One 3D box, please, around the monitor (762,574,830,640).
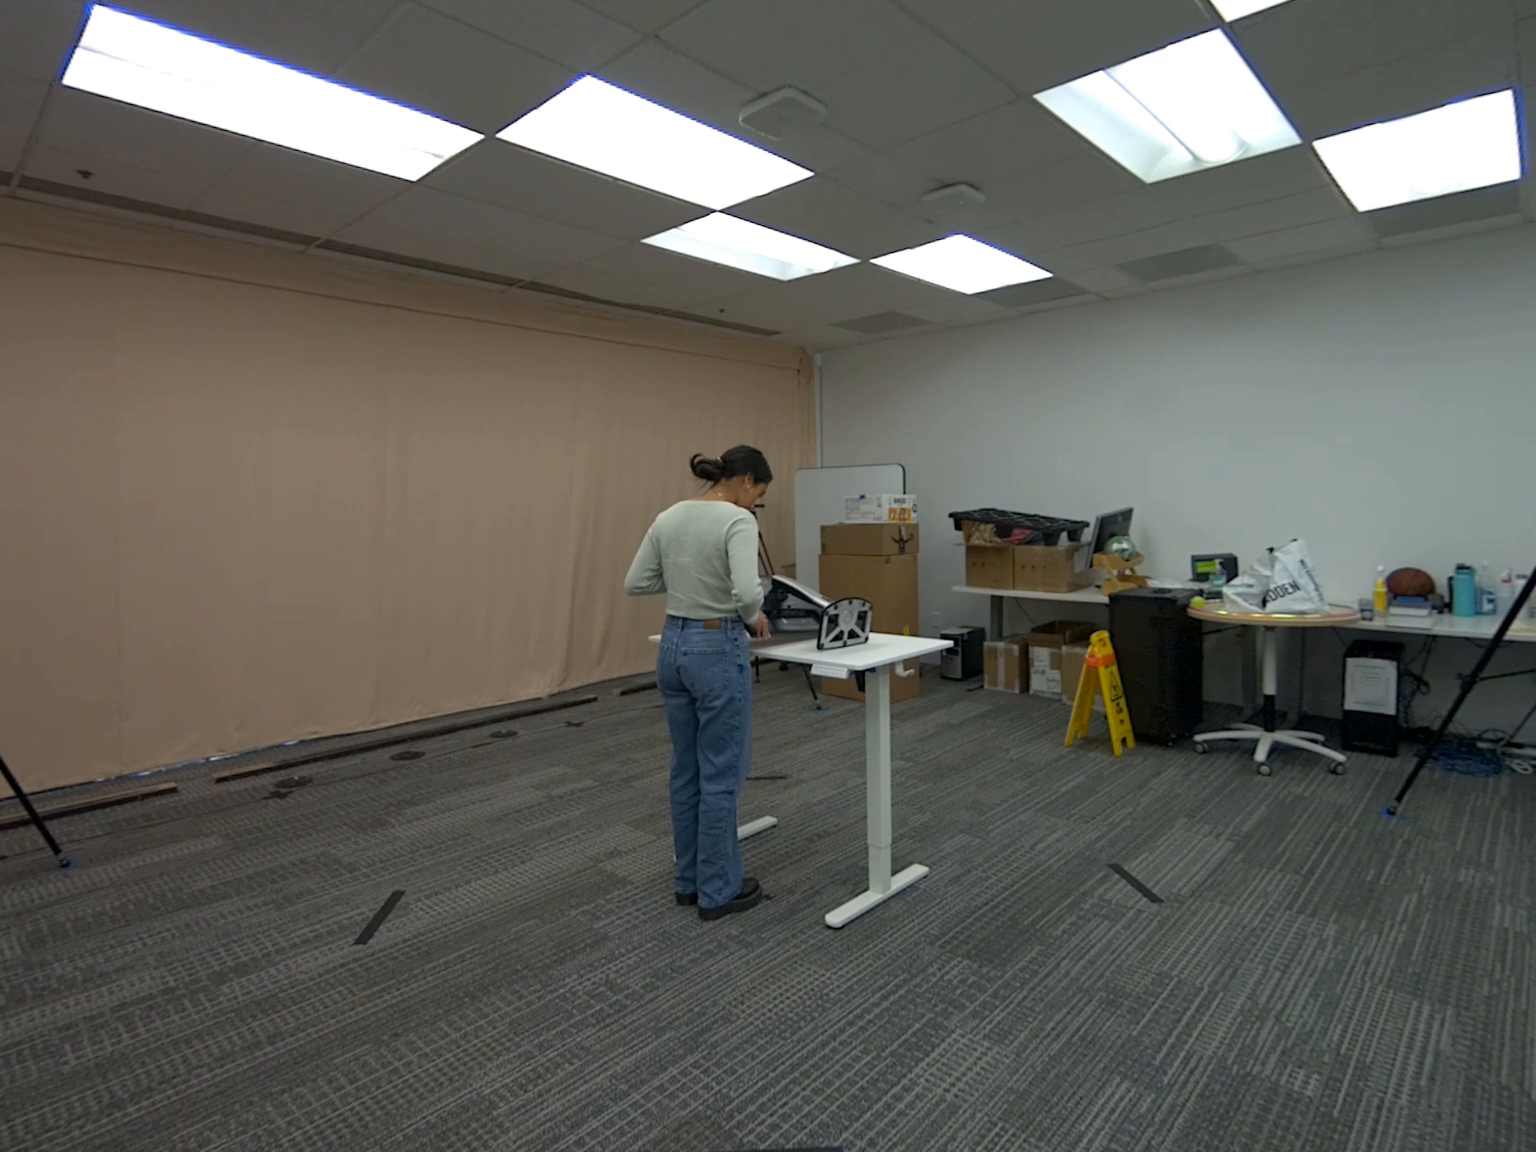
[{"bbox_3d":[0.123,0.094,3.134,0.542,0.186,0.521,20,10,43],"label":"monitor"}]
